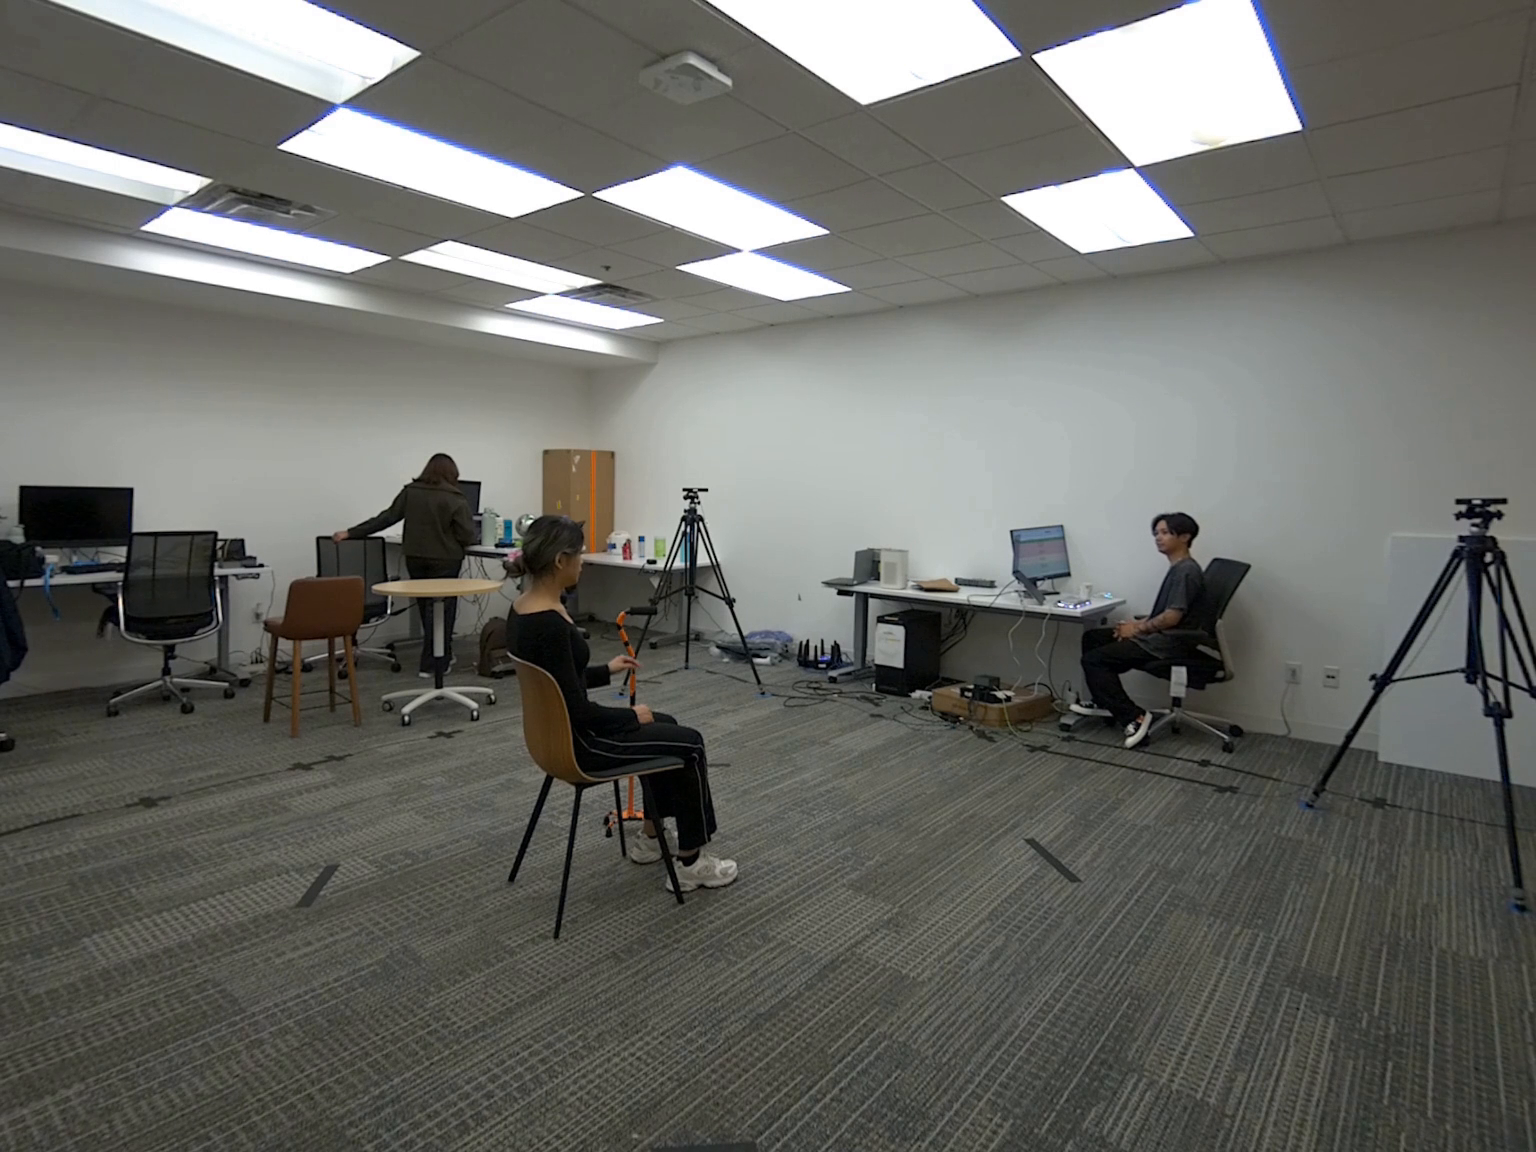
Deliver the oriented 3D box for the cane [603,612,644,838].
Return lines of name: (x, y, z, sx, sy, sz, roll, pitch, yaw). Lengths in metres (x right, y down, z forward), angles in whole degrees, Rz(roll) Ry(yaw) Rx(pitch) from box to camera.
cane: (-0.564, 0.574, 3.444, 0.203, 0.906, 0.154, 1, 2, -15)
